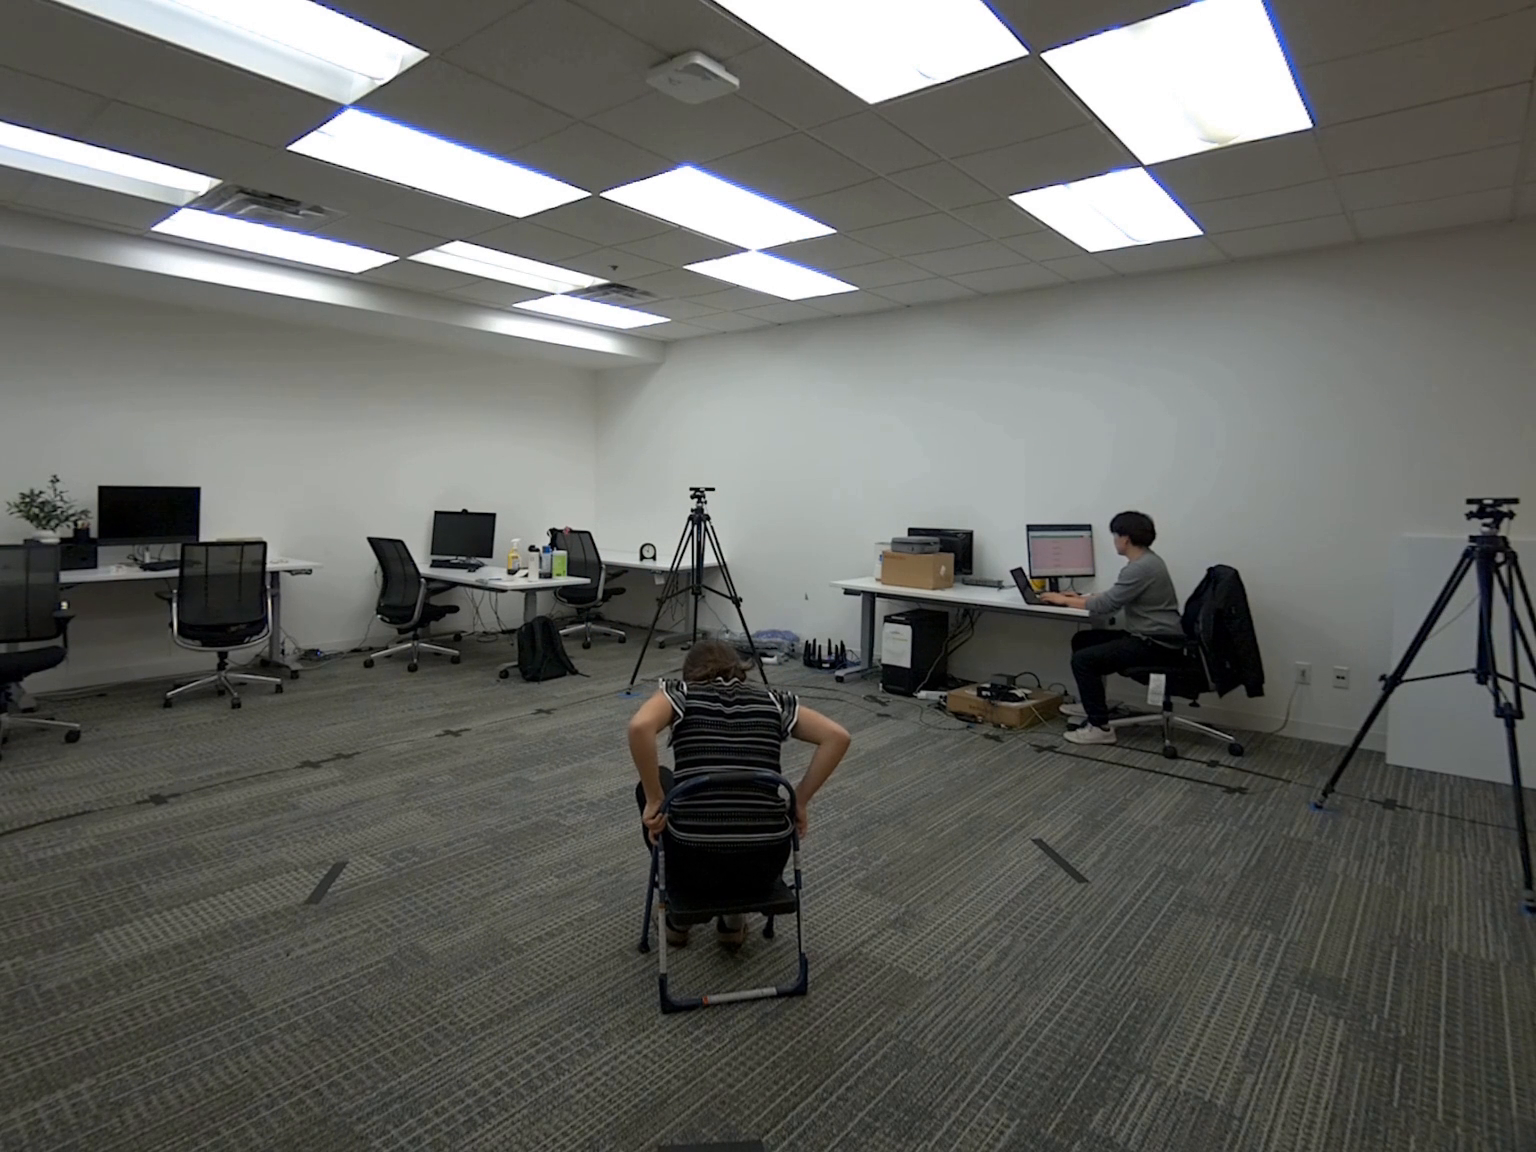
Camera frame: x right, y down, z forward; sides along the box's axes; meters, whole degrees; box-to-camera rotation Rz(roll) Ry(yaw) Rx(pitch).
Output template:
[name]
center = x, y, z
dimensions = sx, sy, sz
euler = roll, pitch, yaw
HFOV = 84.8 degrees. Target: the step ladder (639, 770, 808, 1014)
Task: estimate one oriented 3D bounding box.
[step ladder]
center = -0.135, 0.840, 2.435
dimensions = 0.423, 0.604, 0.357
euler = -1, 5, -18
